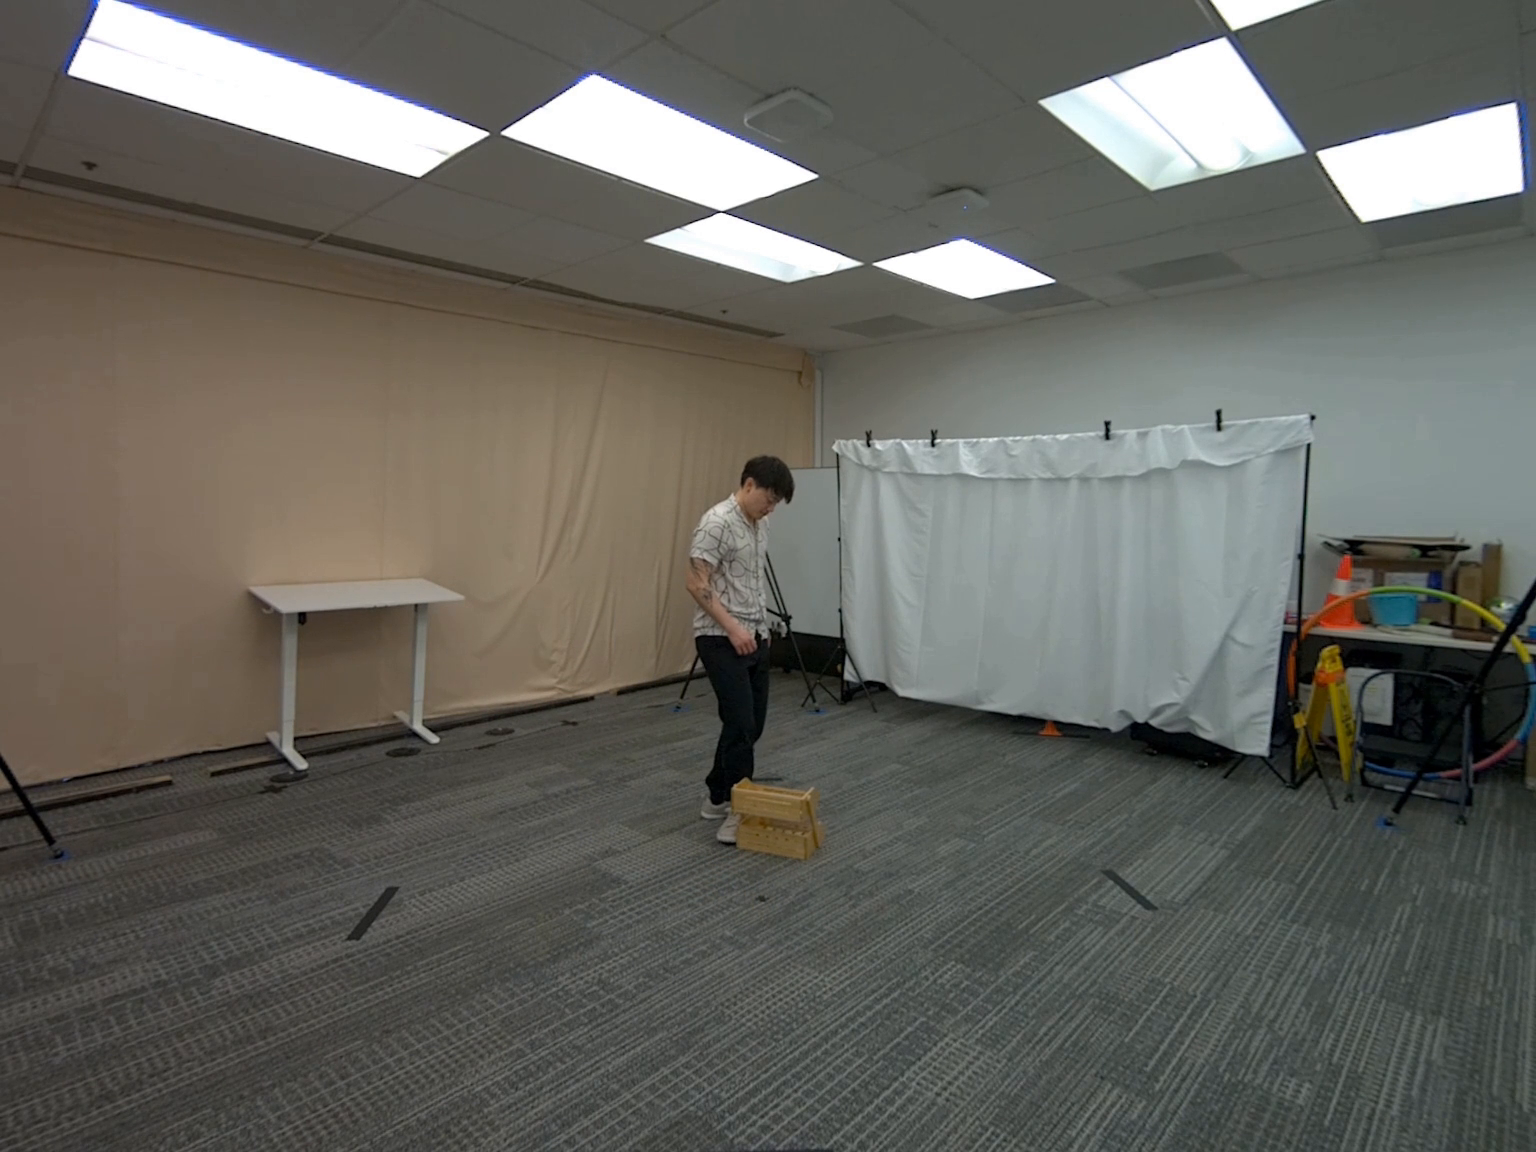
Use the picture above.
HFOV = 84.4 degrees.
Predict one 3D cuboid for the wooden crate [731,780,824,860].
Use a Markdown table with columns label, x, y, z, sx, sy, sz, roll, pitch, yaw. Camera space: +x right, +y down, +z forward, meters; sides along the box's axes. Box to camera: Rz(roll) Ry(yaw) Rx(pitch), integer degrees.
| label | x | y | z | sx | sy | sz | roll | pitch | yaw |
| --- | --- | --- | --- | --- | --- | --- | --- | --- | --- |
| wooden crate | 0.044 | 0.971 | 3.452 | 0.332 | 0.272 | 0.296 | 1 | 5 | 23 |
